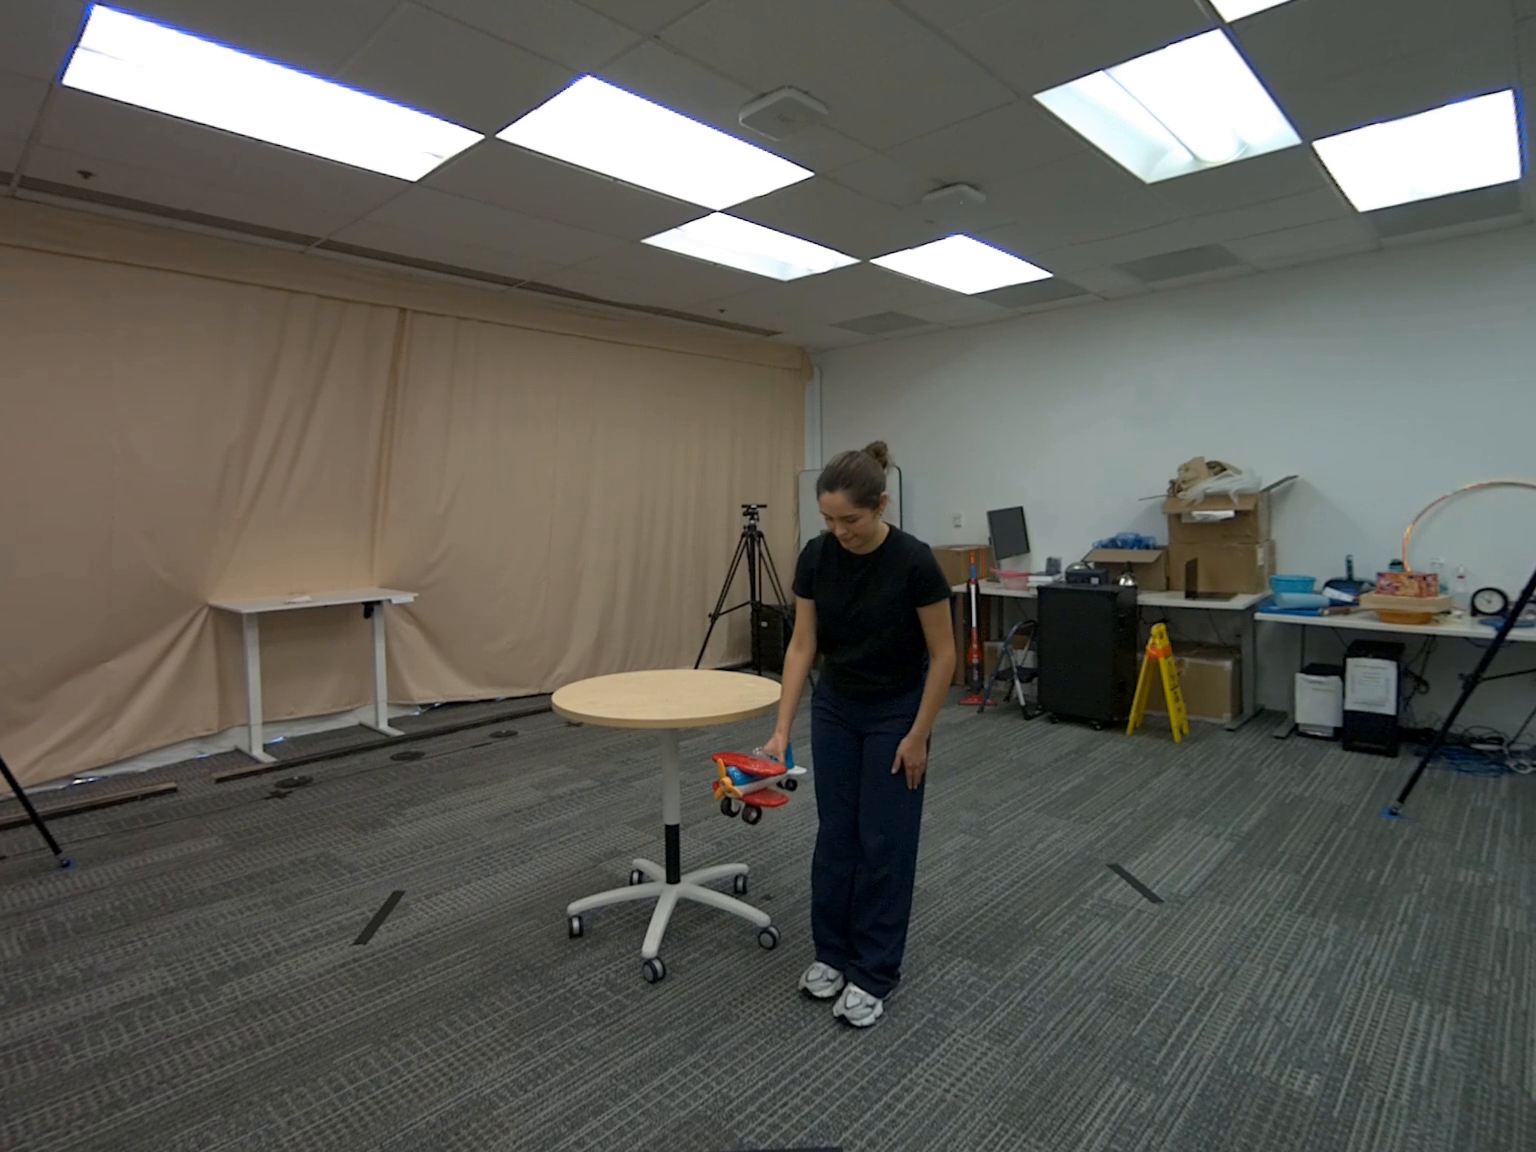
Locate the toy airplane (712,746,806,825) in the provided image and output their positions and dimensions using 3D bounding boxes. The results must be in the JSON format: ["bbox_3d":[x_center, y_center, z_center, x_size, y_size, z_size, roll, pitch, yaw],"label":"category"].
[{"bbox_3d":[-0.028,0.554,2.284,0.256,0.155,0.256,-9,12,24],"label":"toy airplane"}]
